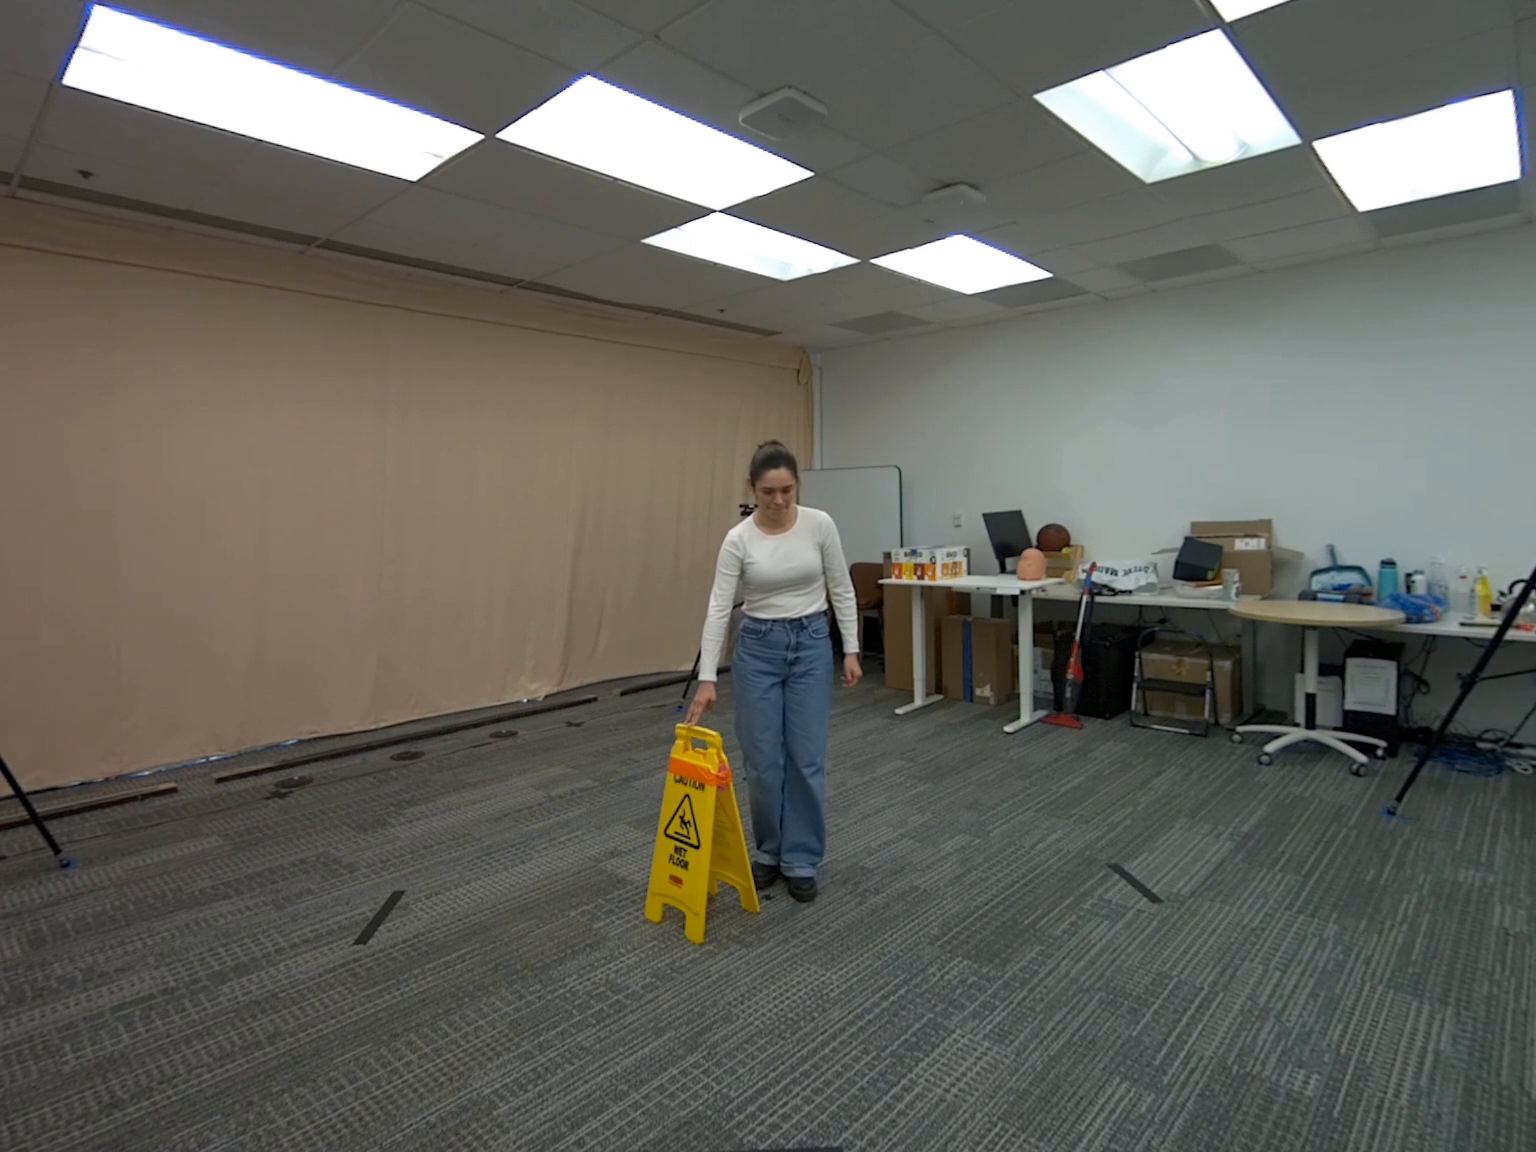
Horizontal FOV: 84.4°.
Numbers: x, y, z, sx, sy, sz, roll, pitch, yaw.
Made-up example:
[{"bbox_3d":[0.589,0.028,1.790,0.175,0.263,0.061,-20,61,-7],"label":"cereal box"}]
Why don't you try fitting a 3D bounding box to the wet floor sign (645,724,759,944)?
[{"bbox_3d":[-0.227,0.831,2.846,0.291,0.644,0.281,1,5,43],"label":"wet floor sign"}]
